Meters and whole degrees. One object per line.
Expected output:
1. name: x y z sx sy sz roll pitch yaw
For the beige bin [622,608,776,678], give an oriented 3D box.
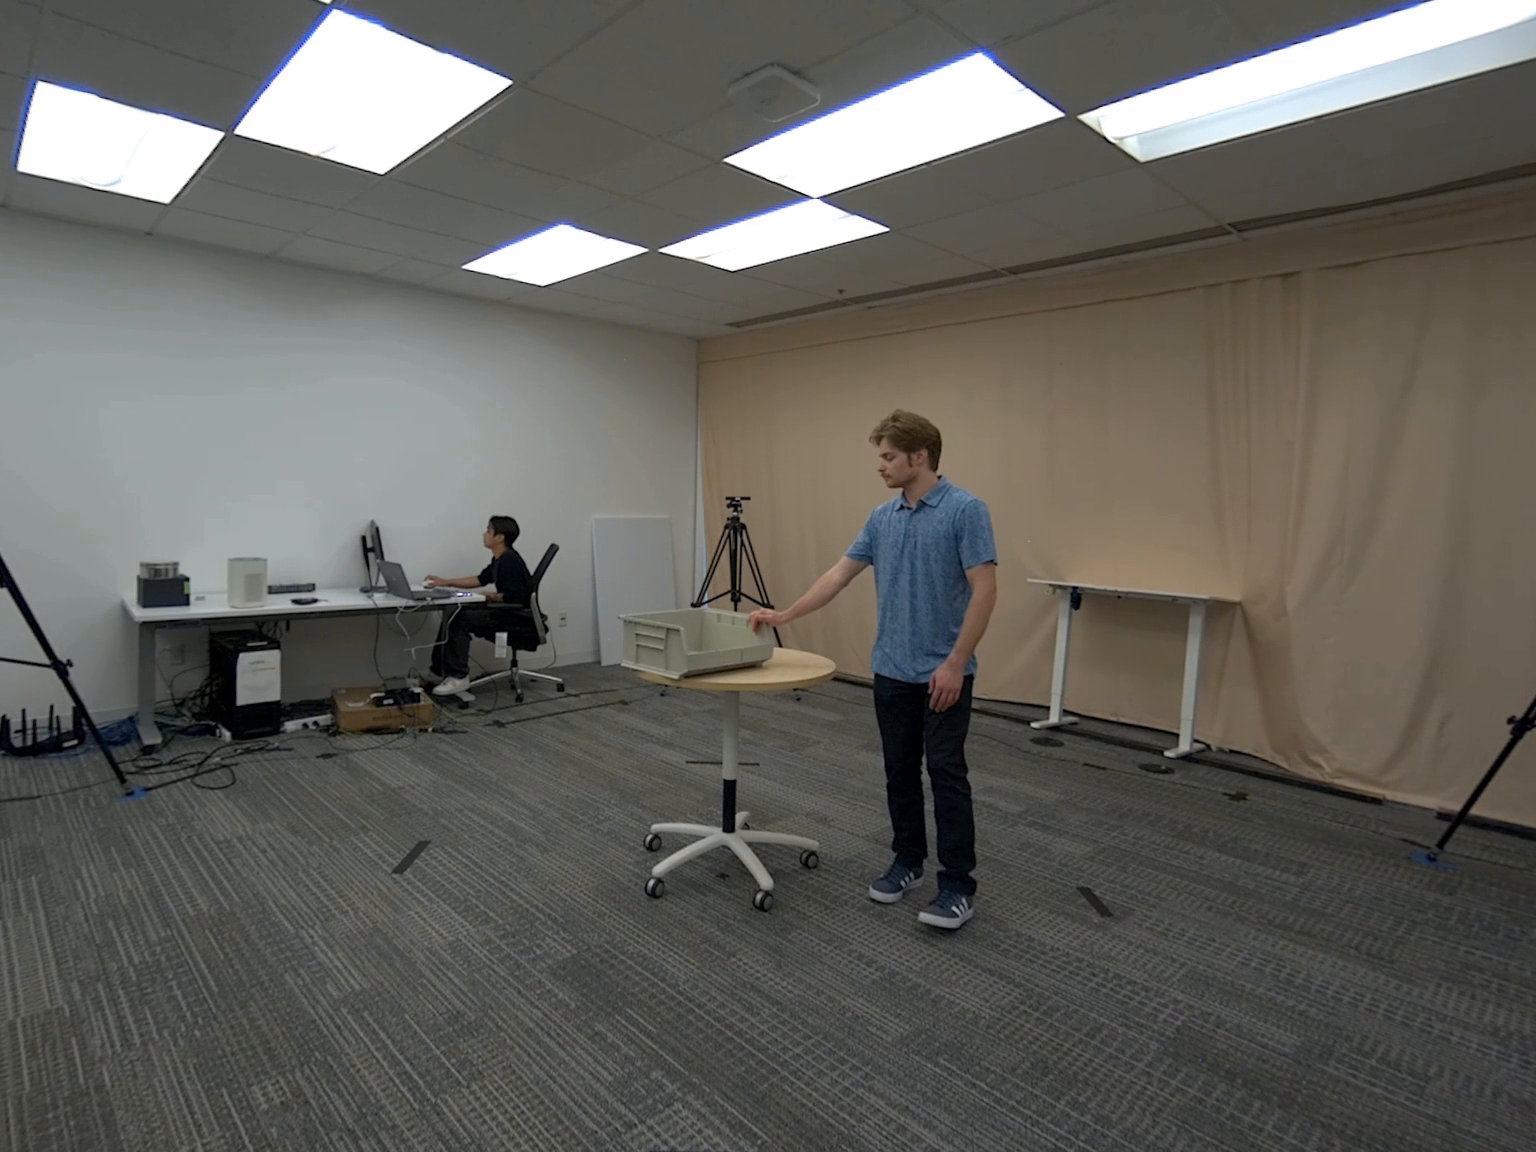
1. beige bin: -0.258 0.239 3.020 0.387 0.188 0.413 4 6 45
